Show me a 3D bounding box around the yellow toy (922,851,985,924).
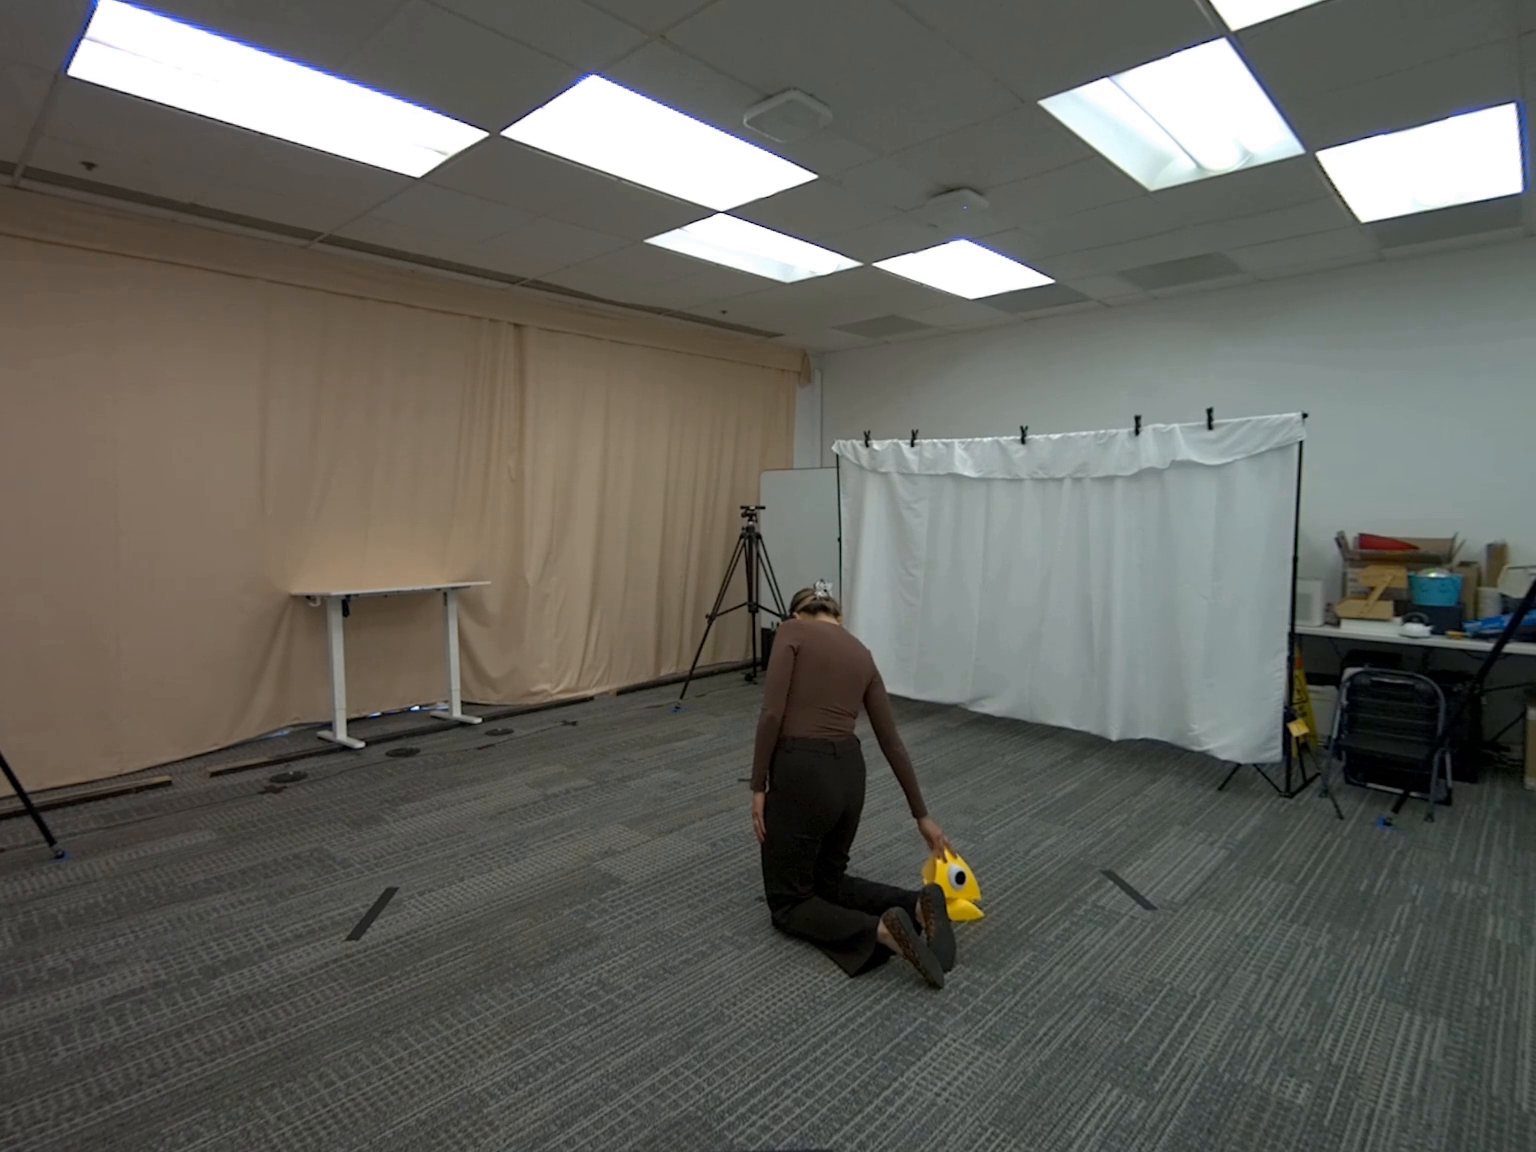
[{"bbox_3d":[0.642,1.036,2.911,0.194,0.230,0.204,-1,3,3],"label":"yellow toy"}]
